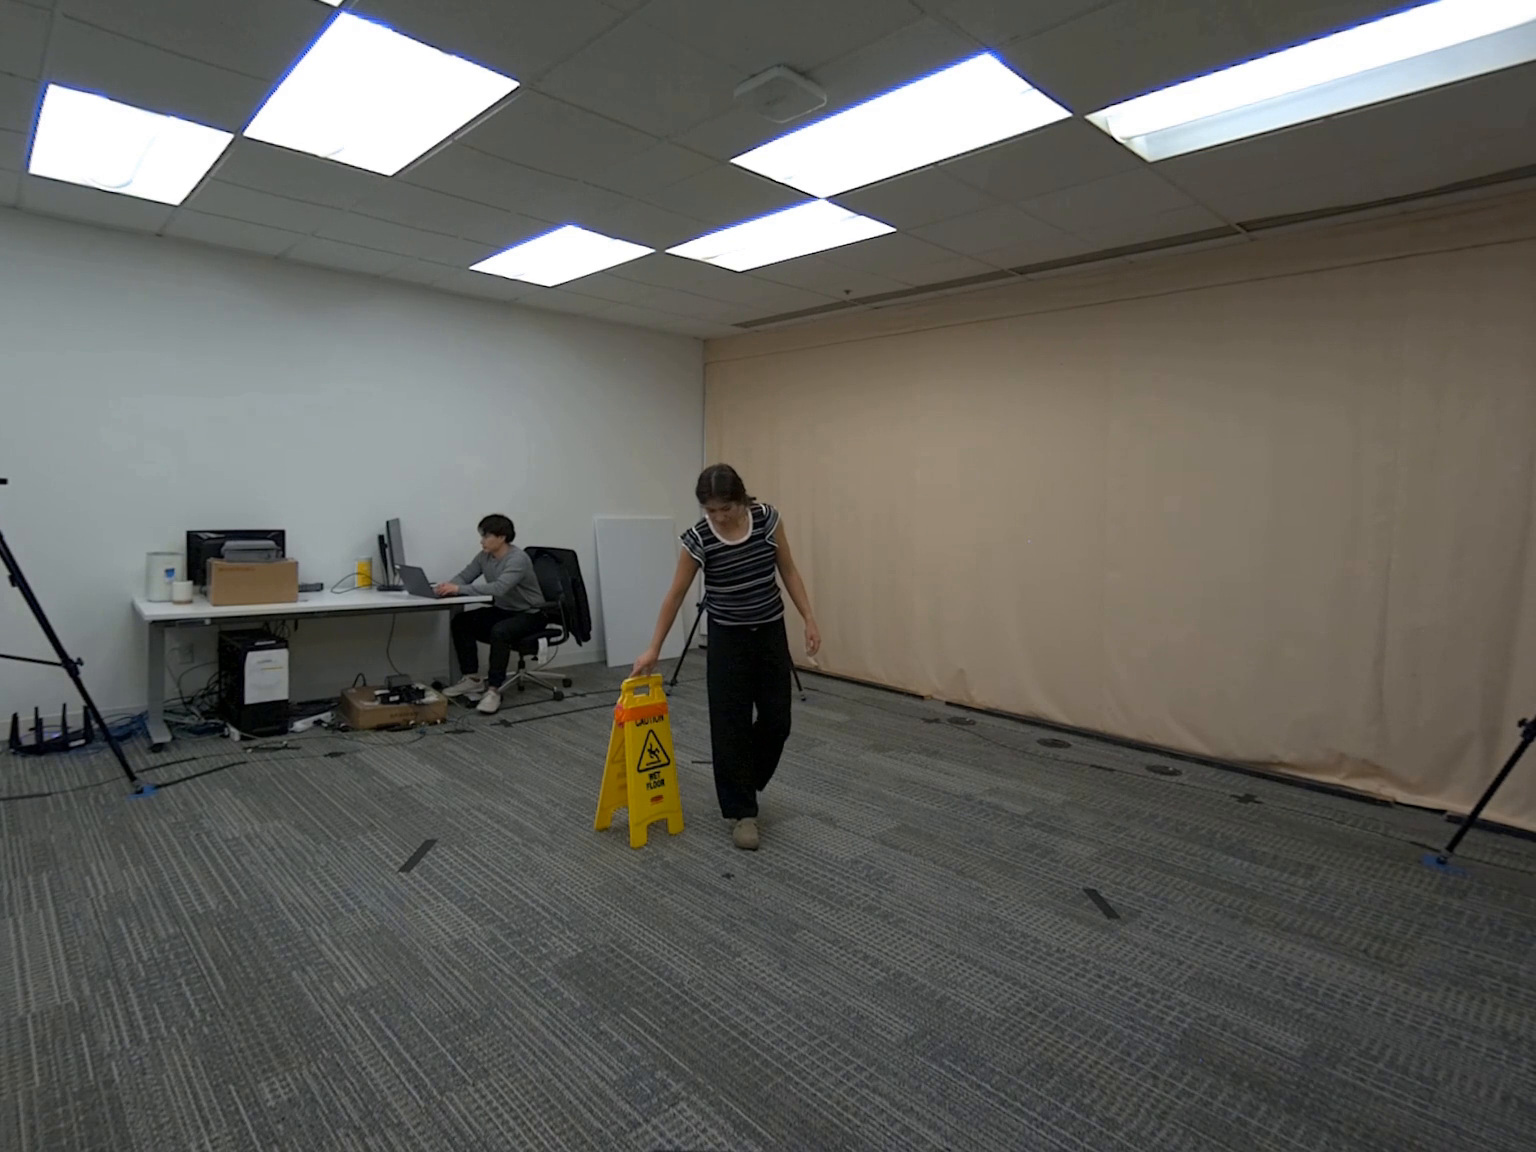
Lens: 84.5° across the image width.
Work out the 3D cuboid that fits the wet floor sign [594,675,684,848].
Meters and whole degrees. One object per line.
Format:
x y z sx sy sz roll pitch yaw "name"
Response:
-0.539 0.737 3.494 0.297 0.645 0.276 4 3 43 "wet floor sign"
